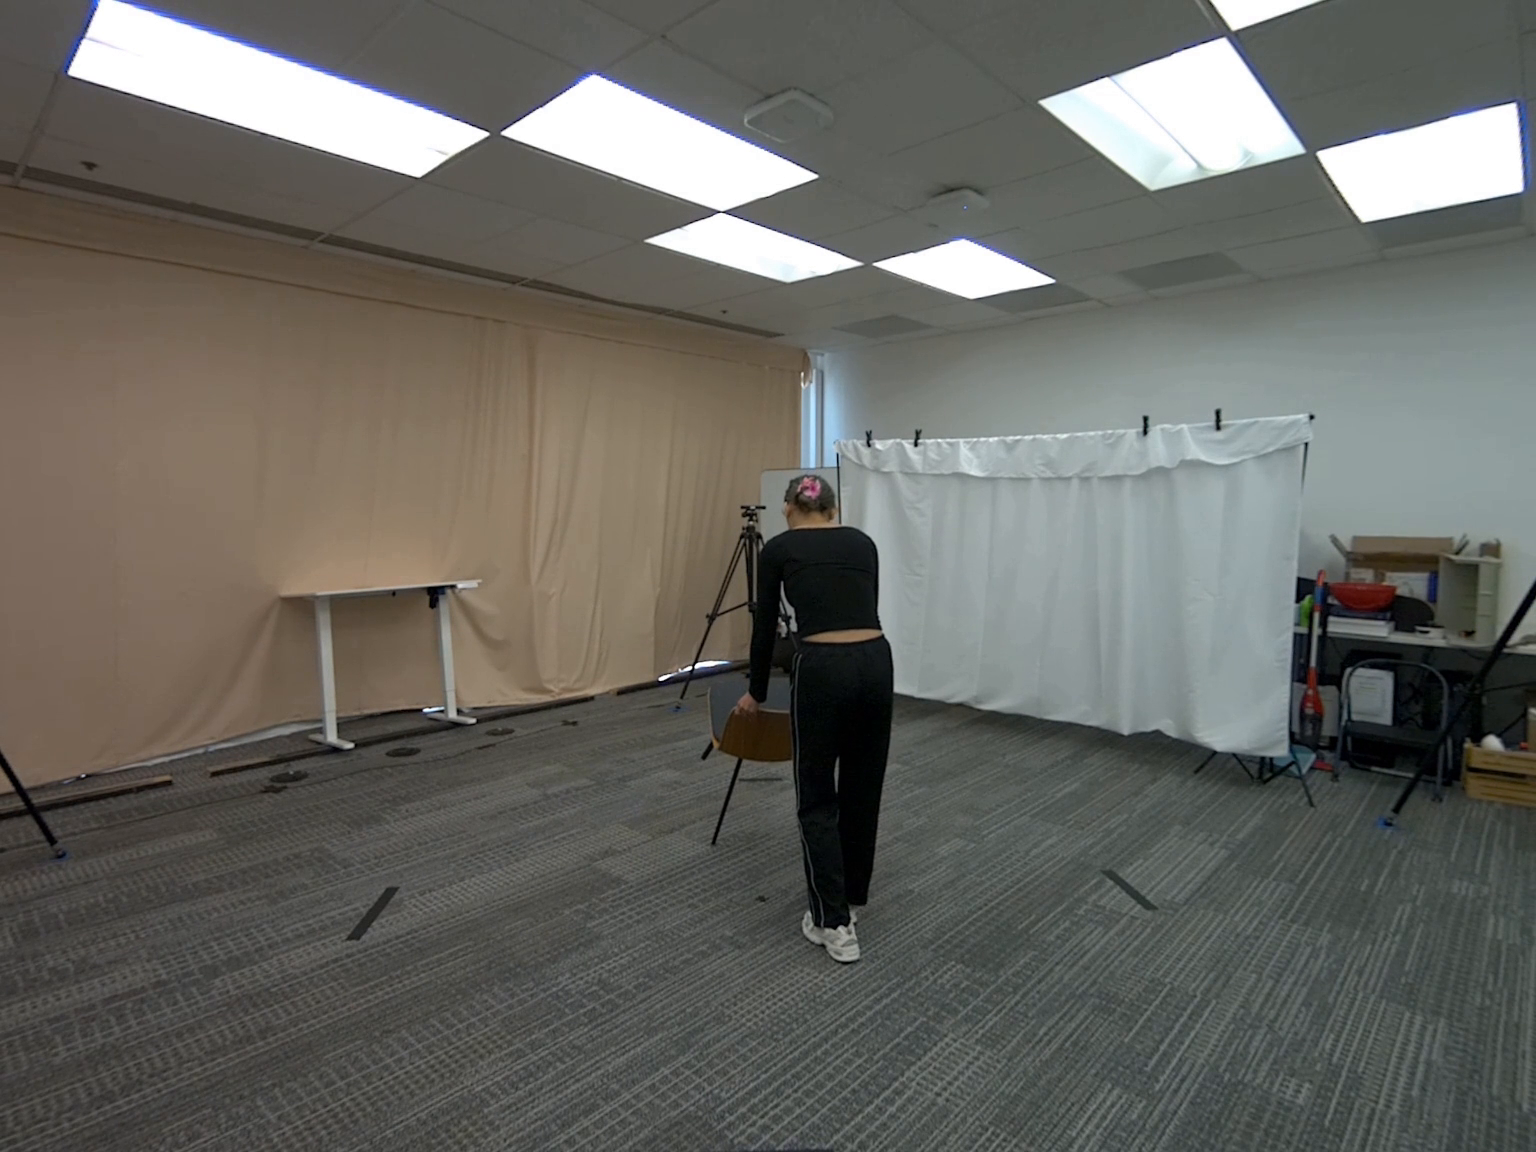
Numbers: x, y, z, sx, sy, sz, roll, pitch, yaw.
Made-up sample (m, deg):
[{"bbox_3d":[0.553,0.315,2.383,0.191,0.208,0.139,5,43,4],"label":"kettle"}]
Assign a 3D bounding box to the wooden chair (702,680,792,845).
[{"bbox_3d":[-0.005,0.616,3.413,0.474,0.864,0.536,0,42,-9],"label":"wooden chair"}]
